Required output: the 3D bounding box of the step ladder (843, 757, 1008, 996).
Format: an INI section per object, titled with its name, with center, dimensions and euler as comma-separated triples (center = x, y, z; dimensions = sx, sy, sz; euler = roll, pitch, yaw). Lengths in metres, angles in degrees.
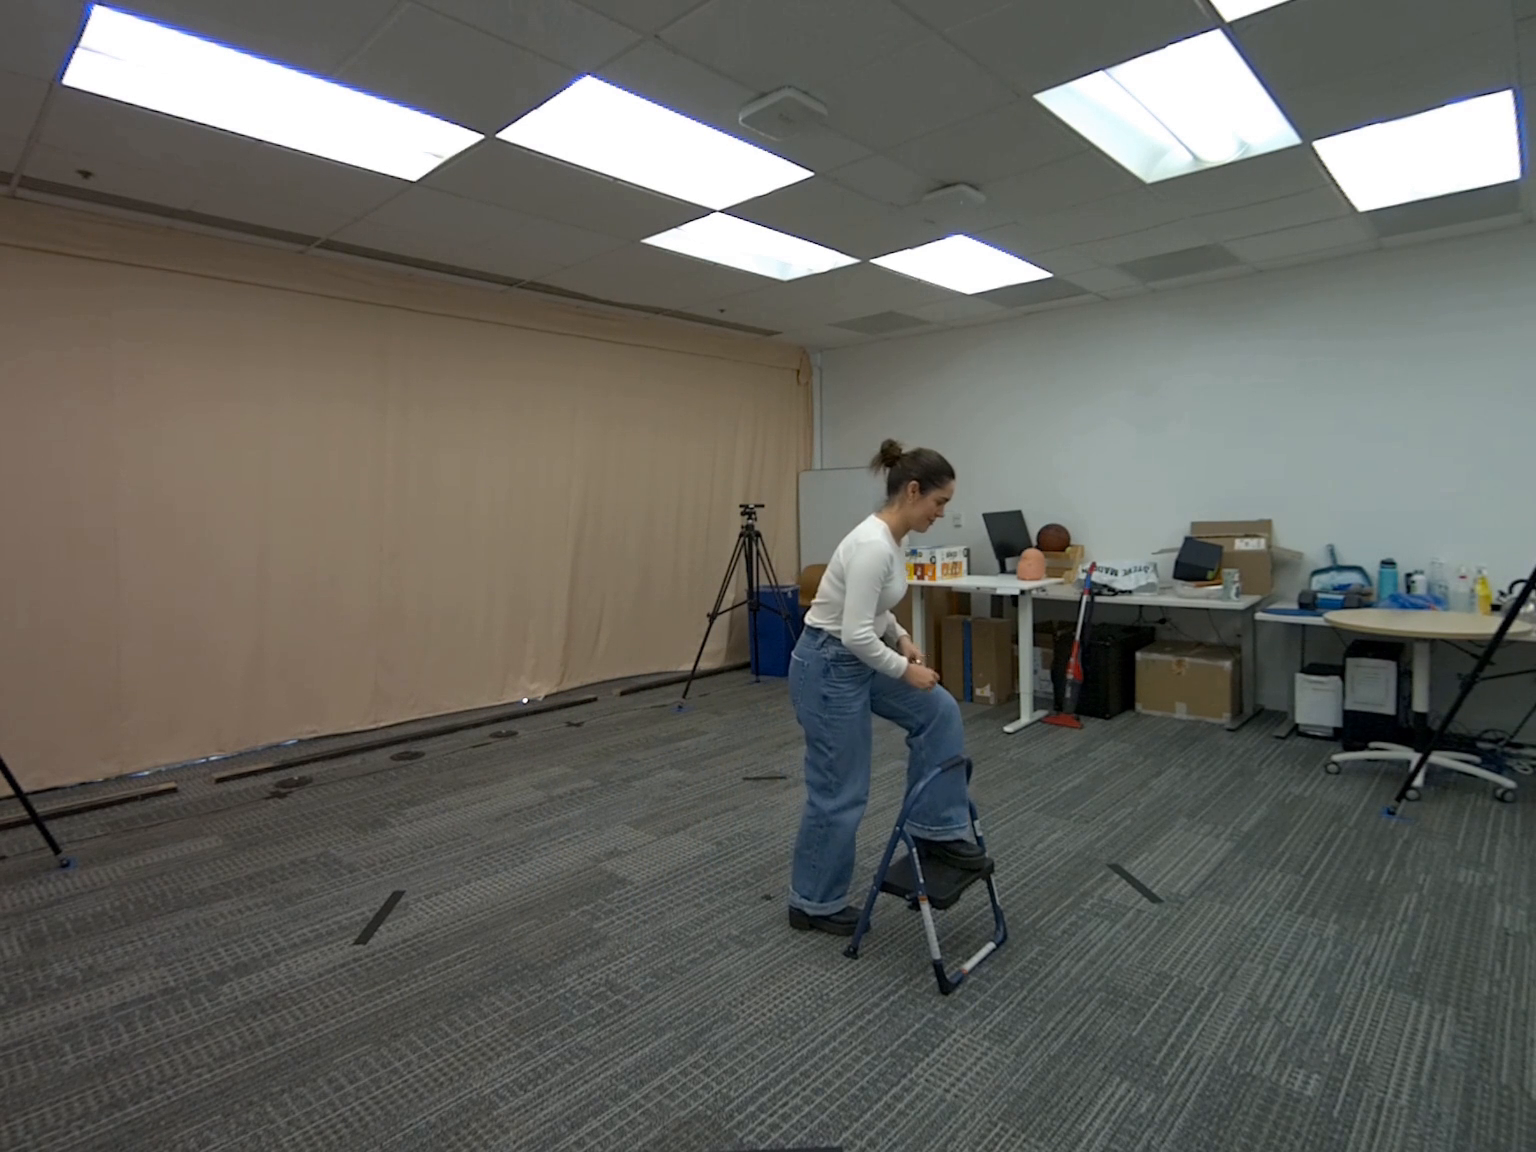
[step ladder]
center = 0.502, 0.863, 2.612
dimensions = 0.361, 0.604, 0.418
euler = 2, 5, 40
